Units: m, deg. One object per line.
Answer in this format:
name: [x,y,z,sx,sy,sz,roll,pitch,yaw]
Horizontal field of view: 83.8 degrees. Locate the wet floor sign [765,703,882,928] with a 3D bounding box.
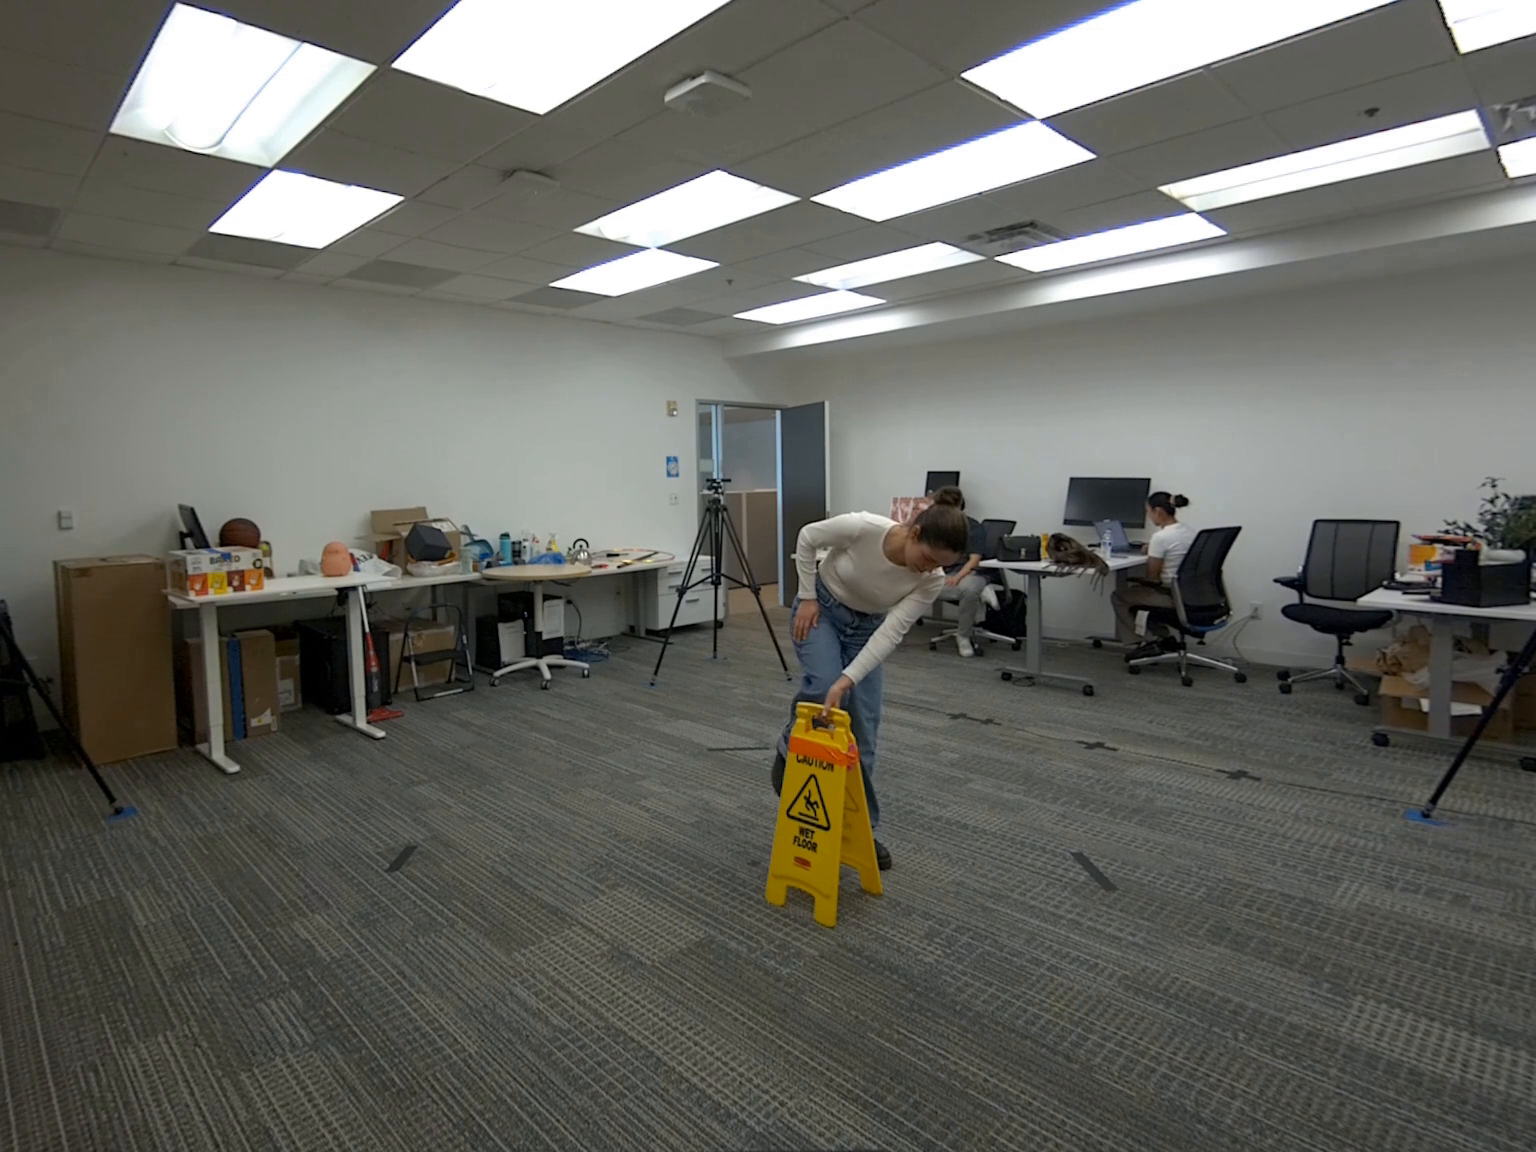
wet floor sign: [0.183,0.751,2.821,0.291,0.644,0.282,2,5,42]
